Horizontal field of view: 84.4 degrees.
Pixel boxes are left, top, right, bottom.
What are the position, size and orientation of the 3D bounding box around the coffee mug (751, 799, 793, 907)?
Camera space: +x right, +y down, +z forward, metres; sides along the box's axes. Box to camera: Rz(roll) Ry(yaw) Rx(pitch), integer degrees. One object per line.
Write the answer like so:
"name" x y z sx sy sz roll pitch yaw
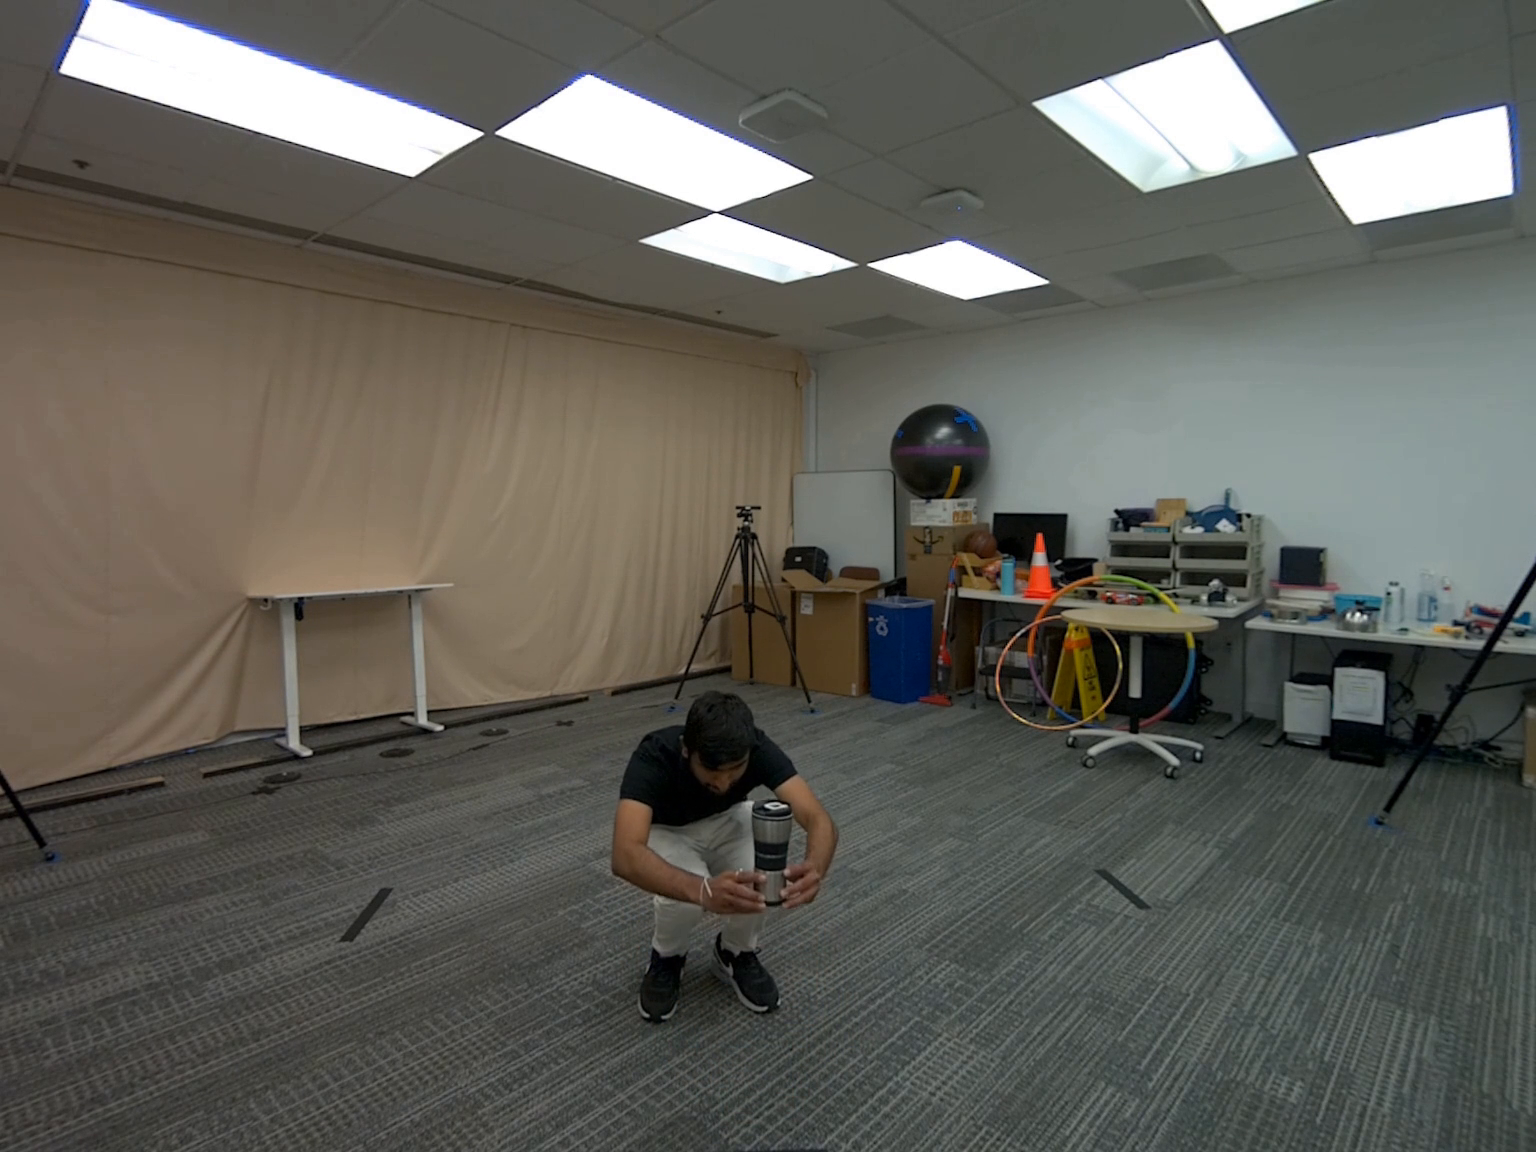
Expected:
"coffee mug" 0.019 0.591 1.801 0.118 0.203 0.090 -5 1 -42
